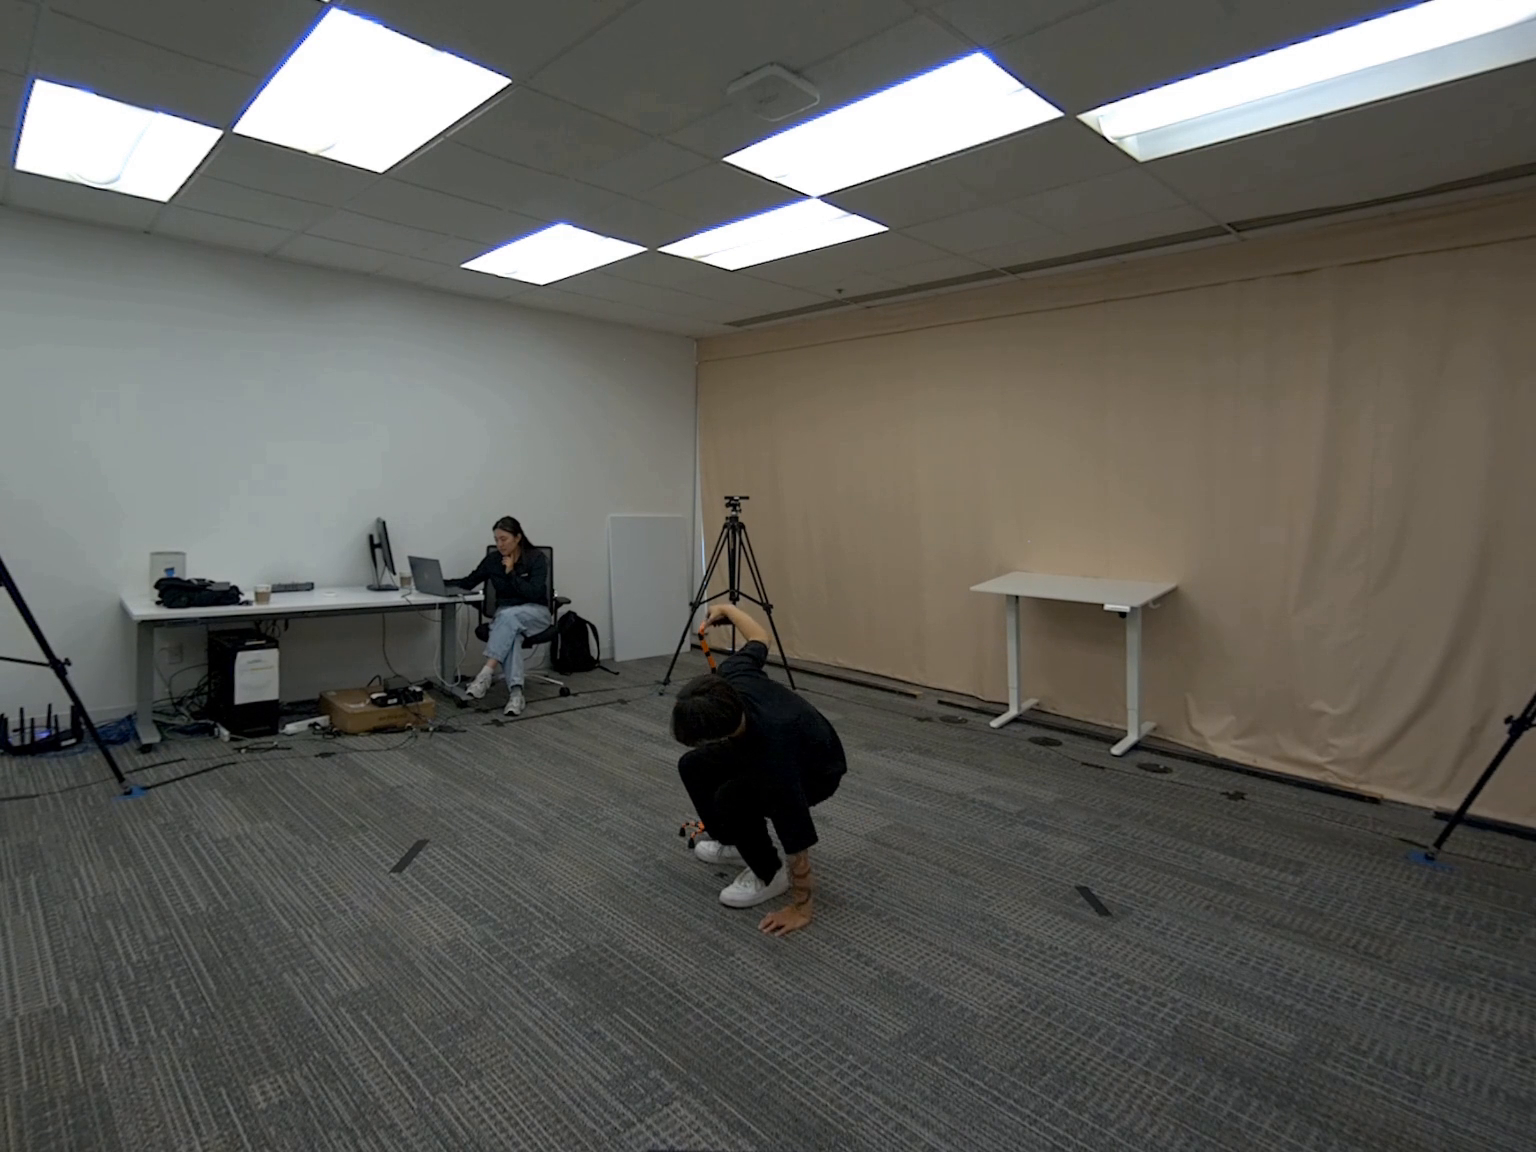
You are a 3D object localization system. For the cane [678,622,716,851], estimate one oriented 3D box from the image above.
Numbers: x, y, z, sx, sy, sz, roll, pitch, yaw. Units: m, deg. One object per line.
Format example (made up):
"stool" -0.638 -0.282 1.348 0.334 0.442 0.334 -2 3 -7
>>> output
"cane" -0.243 0.624 3.416 0.203 0.906 0.154 0 3 -23
